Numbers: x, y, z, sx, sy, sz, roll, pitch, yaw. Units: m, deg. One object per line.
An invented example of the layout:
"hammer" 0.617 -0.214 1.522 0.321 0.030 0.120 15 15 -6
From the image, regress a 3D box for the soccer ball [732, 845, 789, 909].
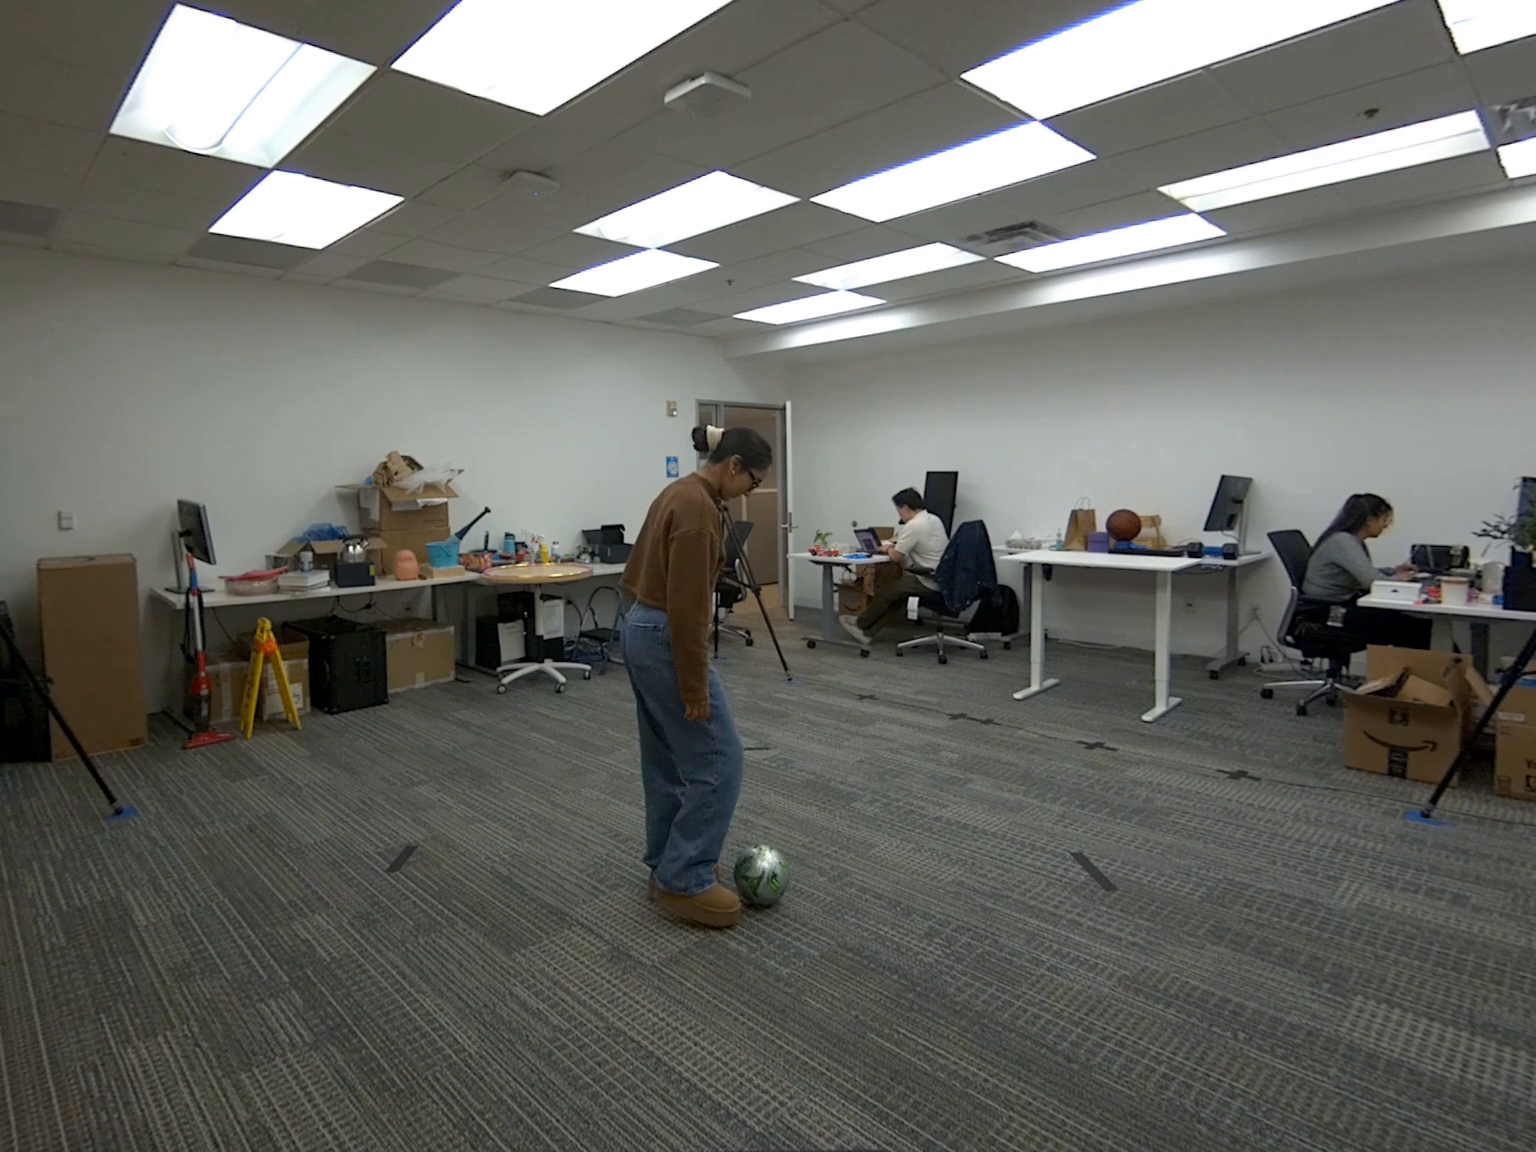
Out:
"soccer ball" -0.022 0.977 2.811 0.187 0.187 0.188 -1 5 -2
